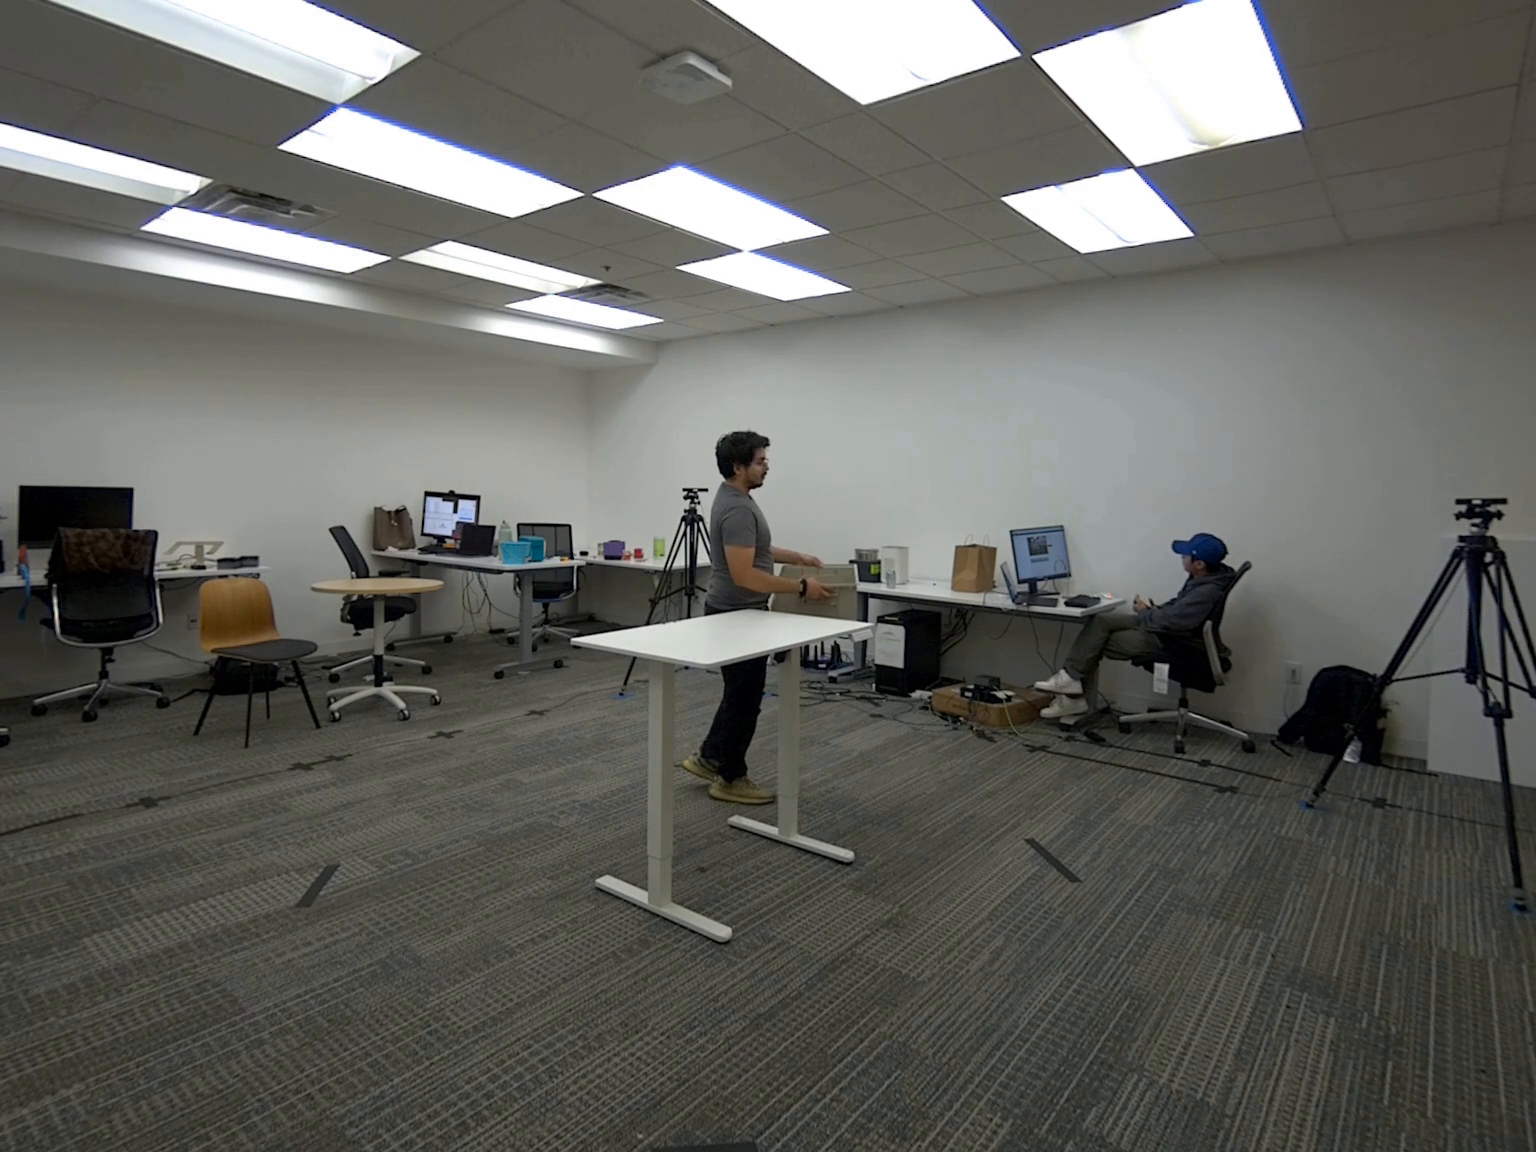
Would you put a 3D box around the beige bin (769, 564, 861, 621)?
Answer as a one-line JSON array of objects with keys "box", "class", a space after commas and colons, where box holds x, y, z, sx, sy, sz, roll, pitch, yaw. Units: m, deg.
[{"box": [0.193, 0.065, 3.816, 0.380, 0.187, 0.423, 4, 10, 5], "class": "beige bin"}]
